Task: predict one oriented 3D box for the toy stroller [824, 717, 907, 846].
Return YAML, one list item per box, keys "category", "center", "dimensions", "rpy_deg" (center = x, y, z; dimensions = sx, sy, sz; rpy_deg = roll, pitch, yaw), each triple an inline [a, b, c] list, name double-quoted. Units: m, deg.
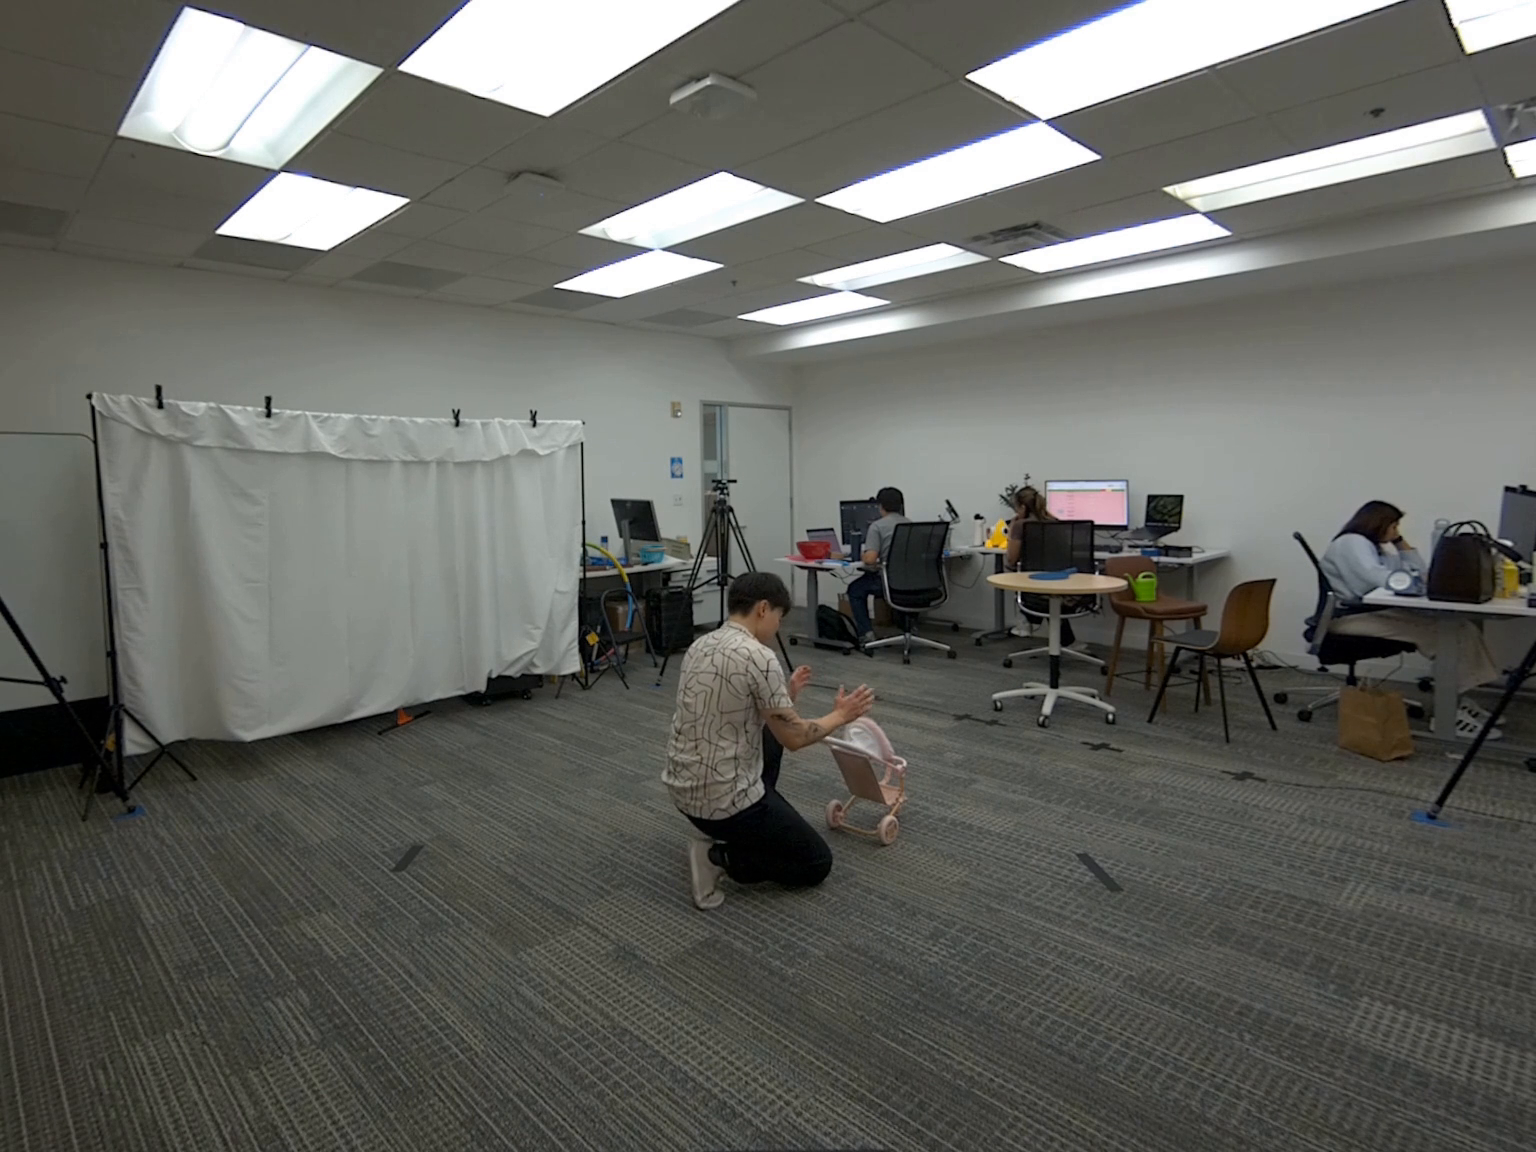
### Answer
- category: "toy stroller"
  center: [0.397, 0.786, 3.370]
  dimensions: [0.290, 0.525, 0.337]
  rpy_deg: [5, 24, 45]
